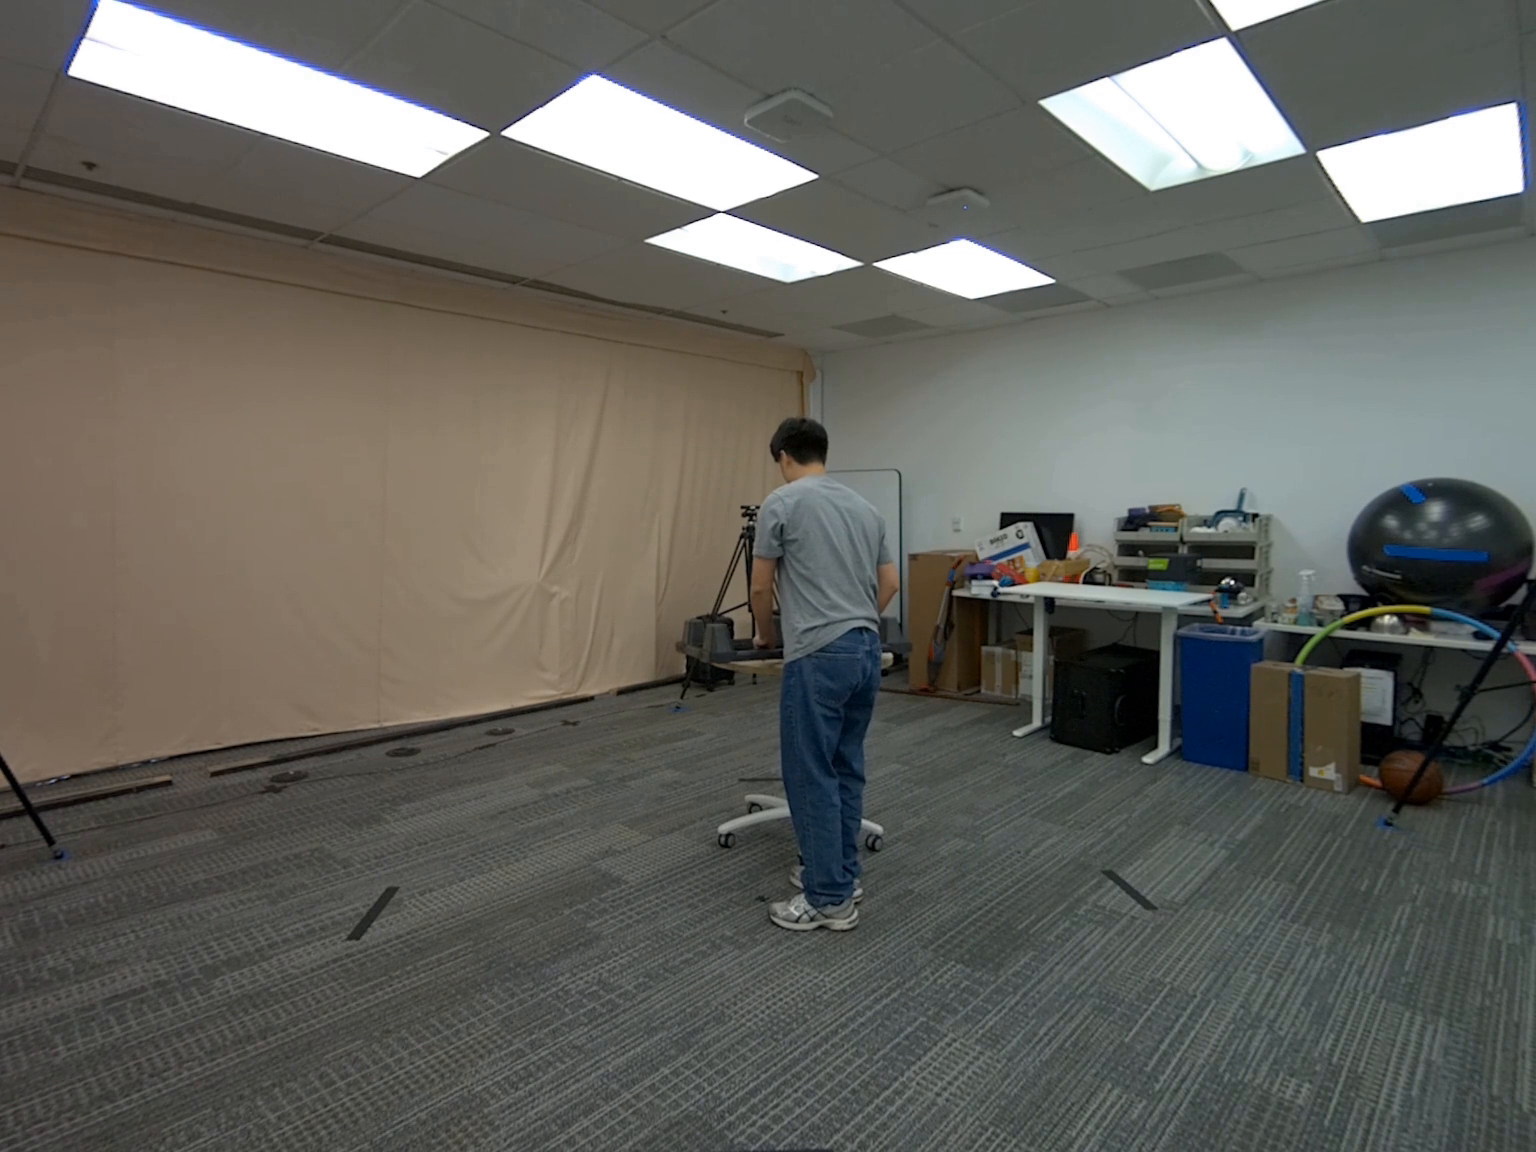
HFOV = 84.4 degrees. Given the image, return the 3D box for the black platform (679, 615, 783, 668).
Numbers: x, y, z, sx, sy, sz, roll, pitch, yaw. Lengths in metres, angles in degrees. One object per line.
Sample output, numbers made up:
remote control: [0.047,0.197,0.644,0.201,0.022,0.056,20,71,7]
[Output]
black platform: [0.083,0.240,3.364,0.792,0.143,0.615,-2,0,-16]
